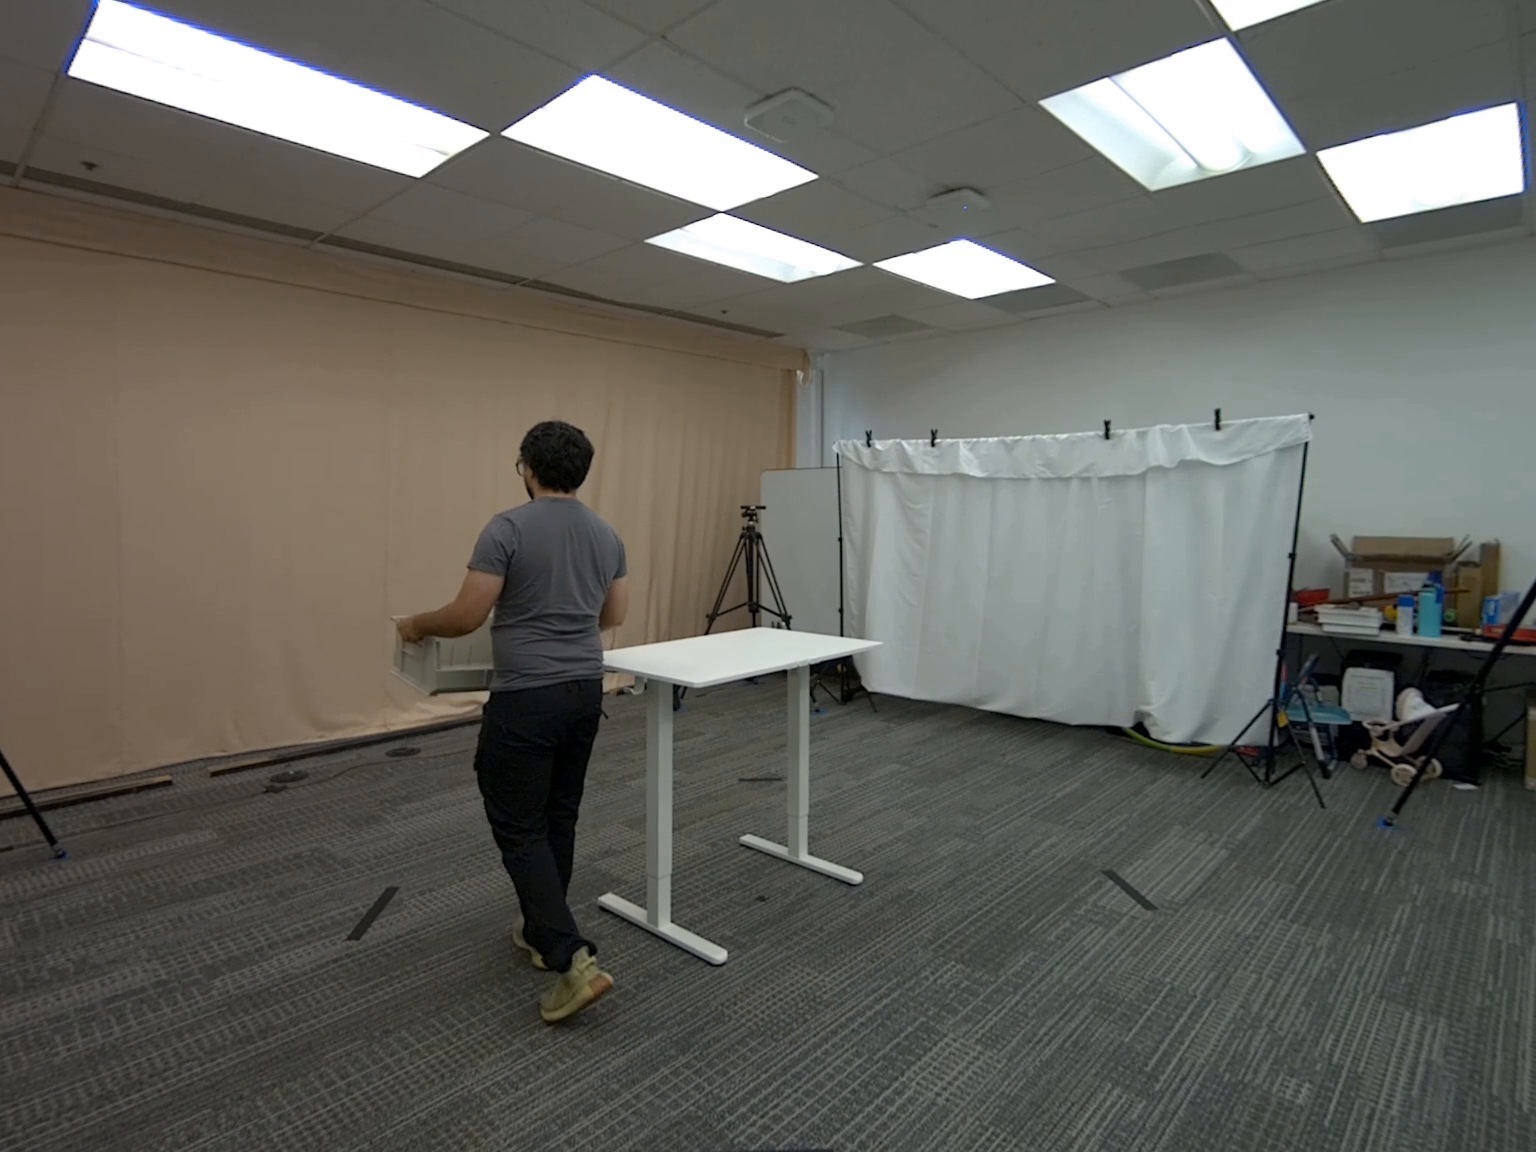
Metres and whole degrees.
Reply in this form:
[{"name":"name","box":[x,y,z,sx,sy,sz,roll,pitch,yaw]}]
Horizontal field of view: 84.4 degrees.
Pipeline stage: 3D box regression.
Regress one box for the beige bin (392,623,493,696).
[{"name":"beige bin","box":[-0.929,0.257,2.690,0.409,0.188,0.390,0,5,-41]}]
